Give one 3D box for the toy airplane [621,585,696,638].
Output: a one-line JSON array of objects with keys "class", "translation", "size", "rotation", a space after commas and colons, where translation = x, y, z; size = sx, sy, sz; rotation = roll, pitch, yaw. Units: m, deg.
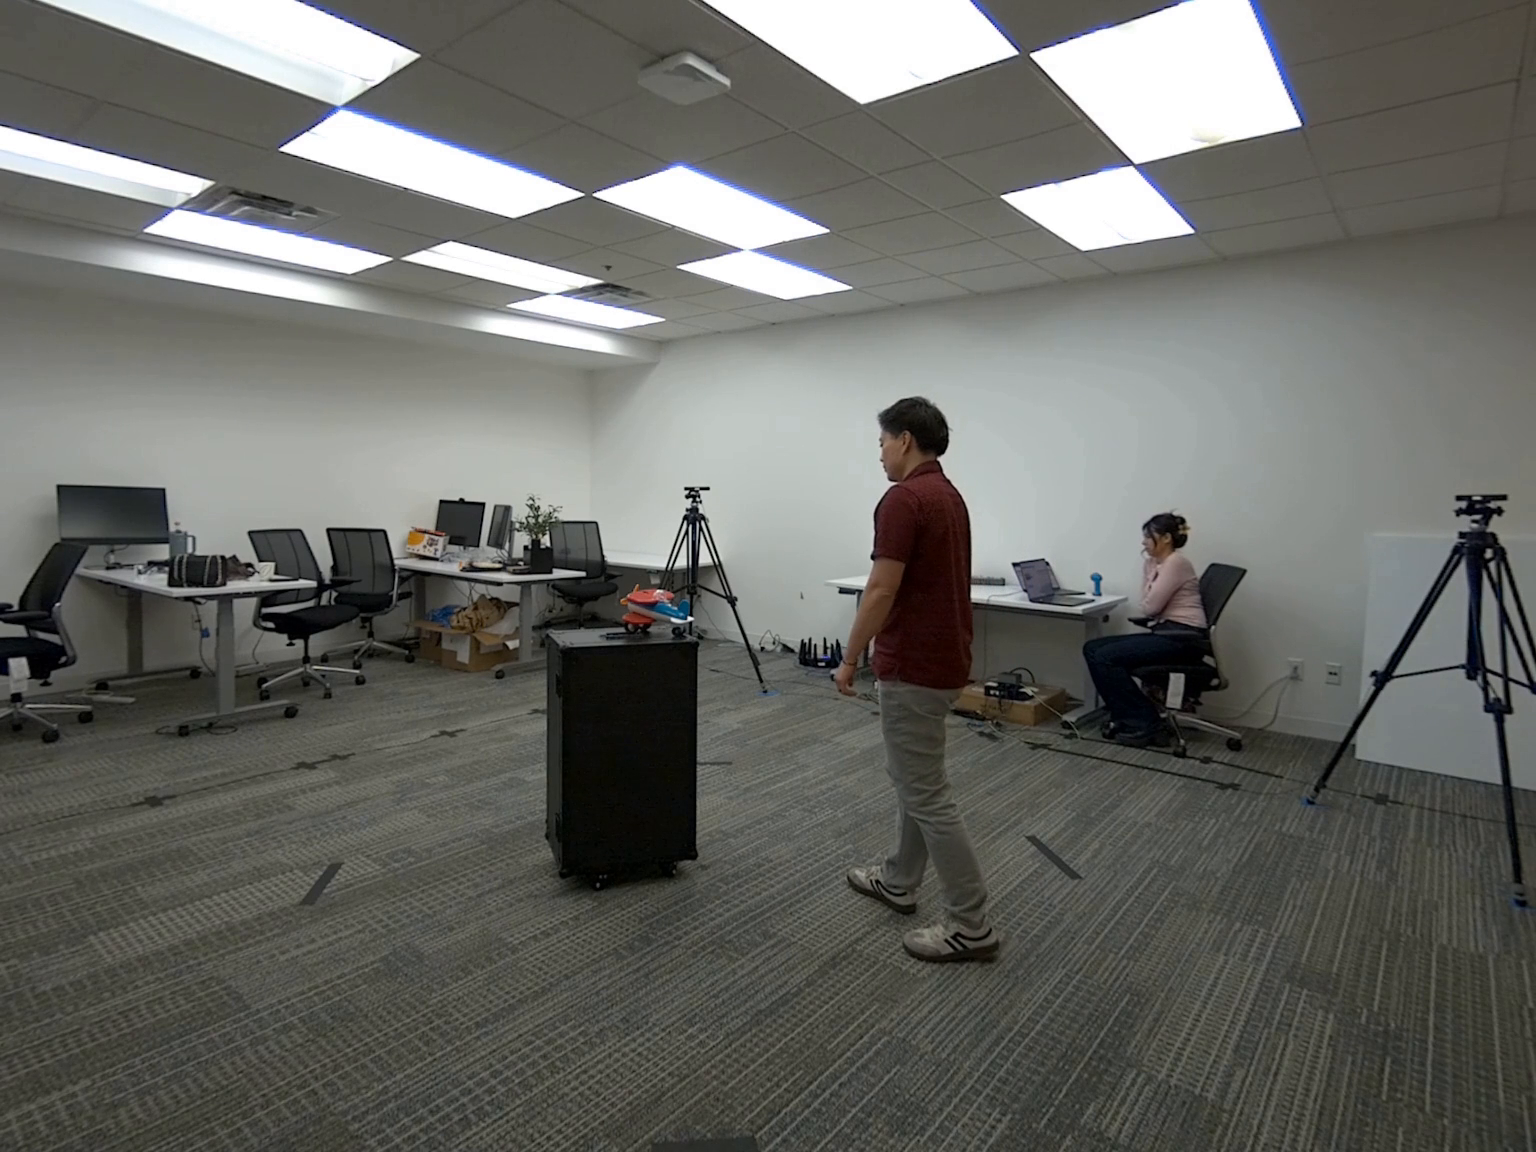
[{"class": "toy airplane", "translation": [-0.407, 0.128, 3.149], "size": [0.259, 0.156, 0.253], "rotation": [-1, 5, -2]}]
